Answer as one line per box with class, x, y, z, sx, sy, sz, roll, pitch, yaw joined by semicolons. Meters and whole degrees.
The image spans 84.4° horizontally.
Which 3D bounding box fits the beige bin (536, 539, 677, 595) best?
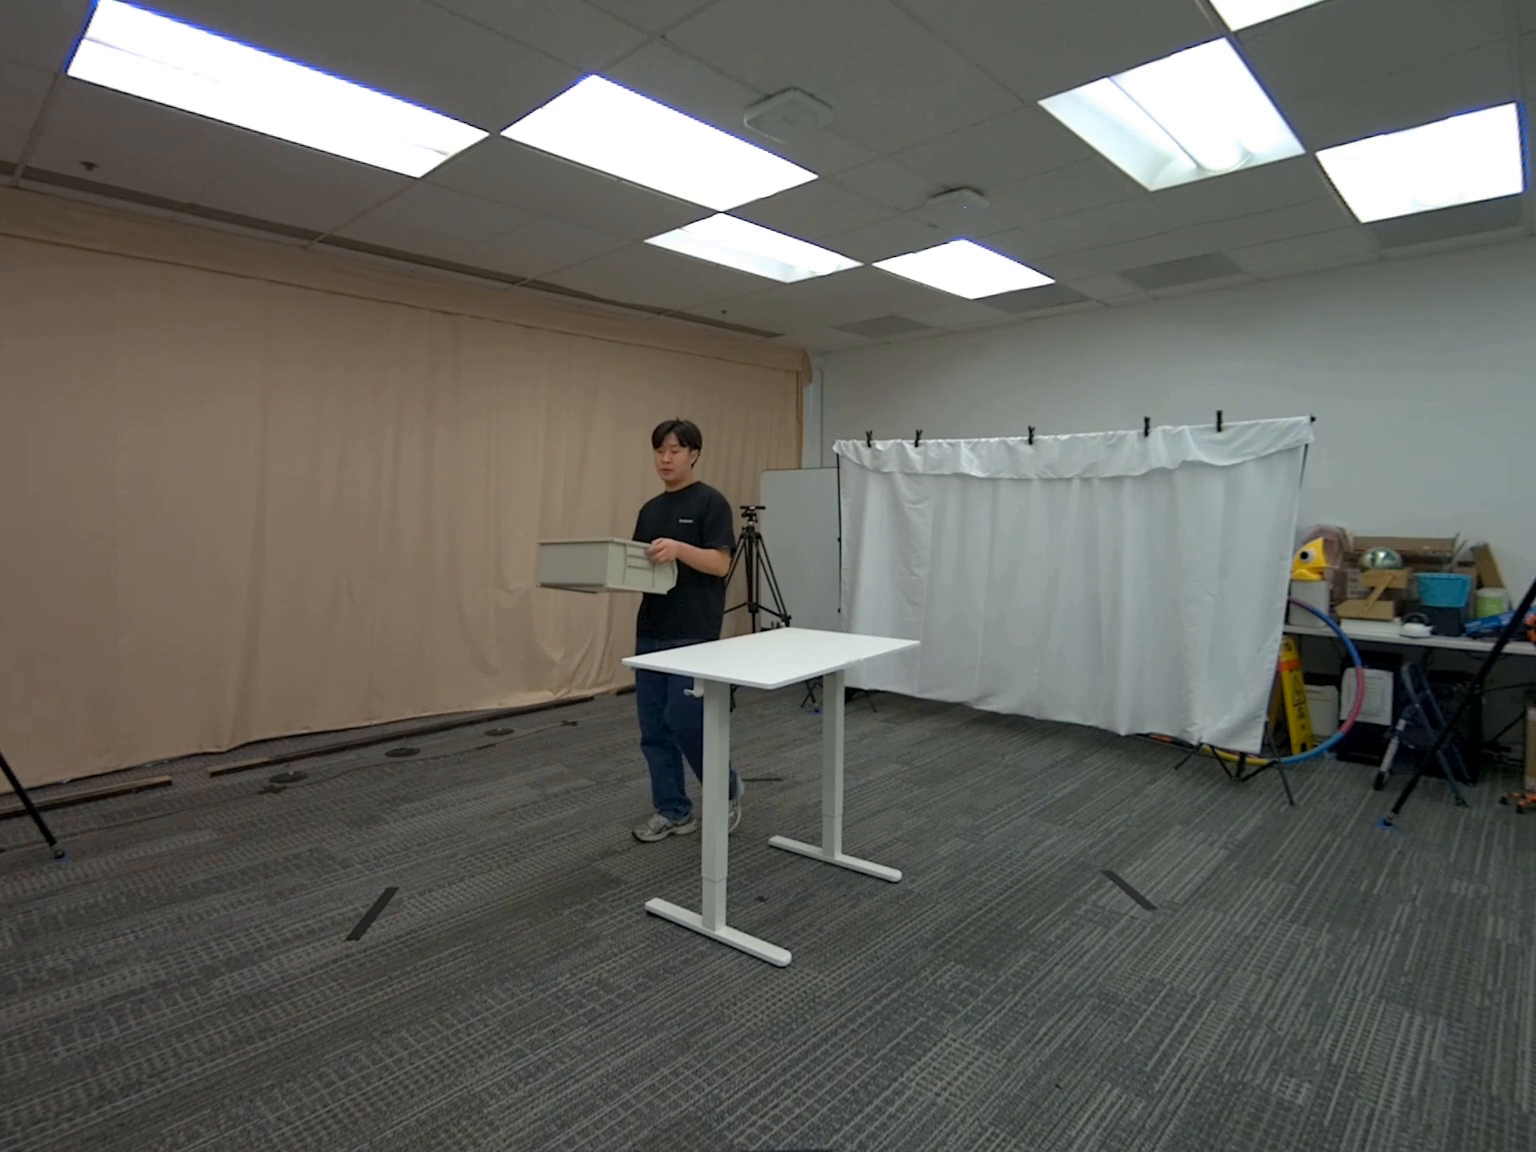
beige bin;-0.630;-0.026;3.269;0.435;0.189;0.365;1;-4;36
